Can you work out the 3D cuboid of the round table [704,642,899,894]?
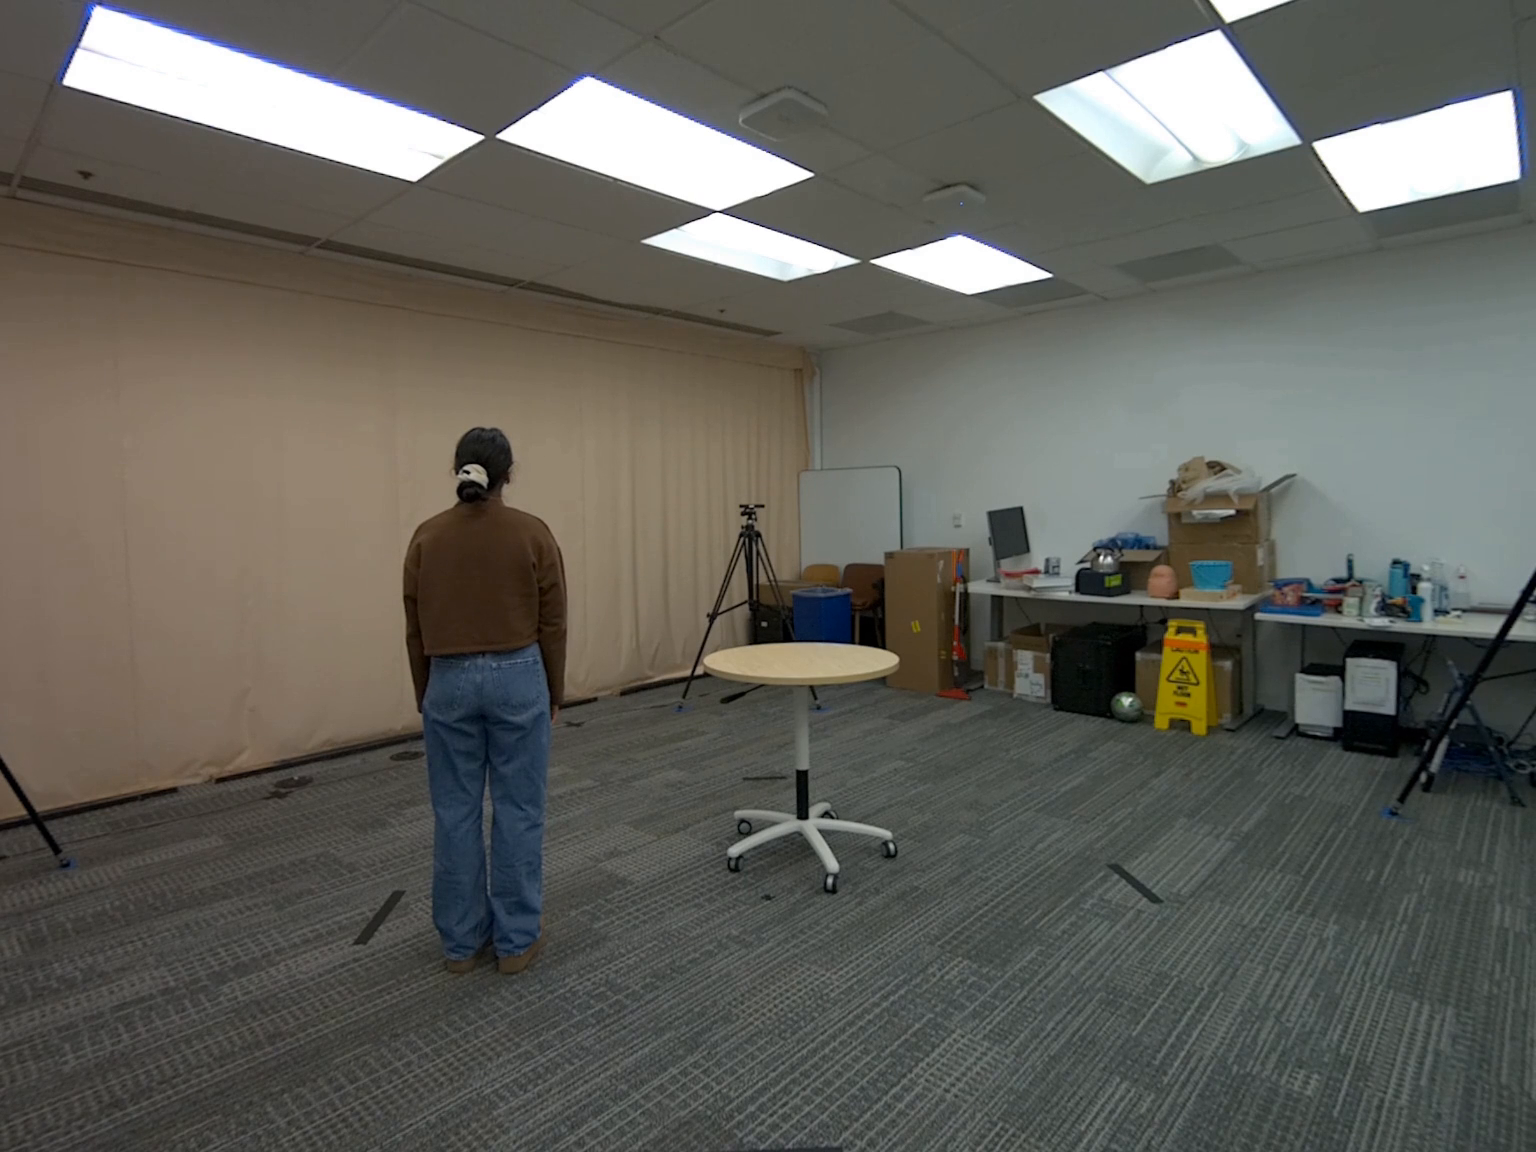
[{"bbox_3d":[0.148,0.714,3.346,0.784,0.785,0.788,-1,3,-2],"label":"round table"}]
